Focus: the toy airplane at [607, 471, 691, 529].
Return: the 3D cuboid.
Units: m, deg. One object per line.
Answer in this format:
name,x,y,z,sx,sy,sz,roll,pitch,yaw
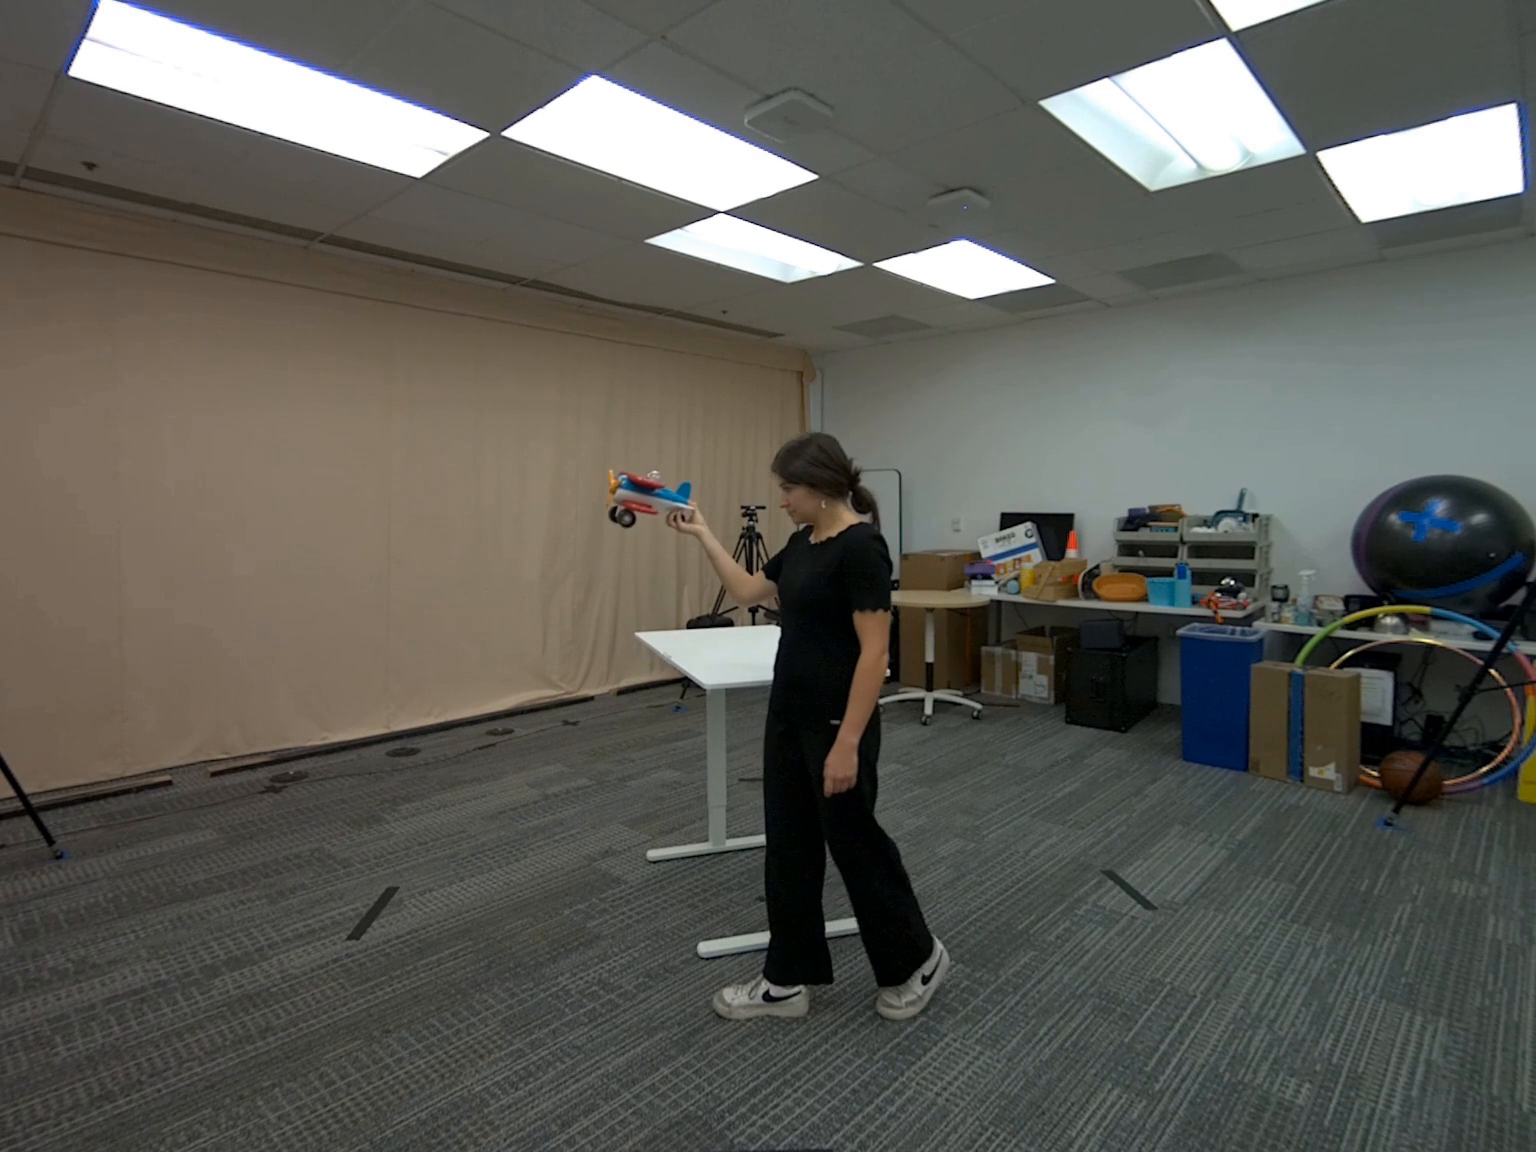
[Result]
toy airplane,-0.357,-0.229,2.532,0.260,0.155,0.252,13,16,35
